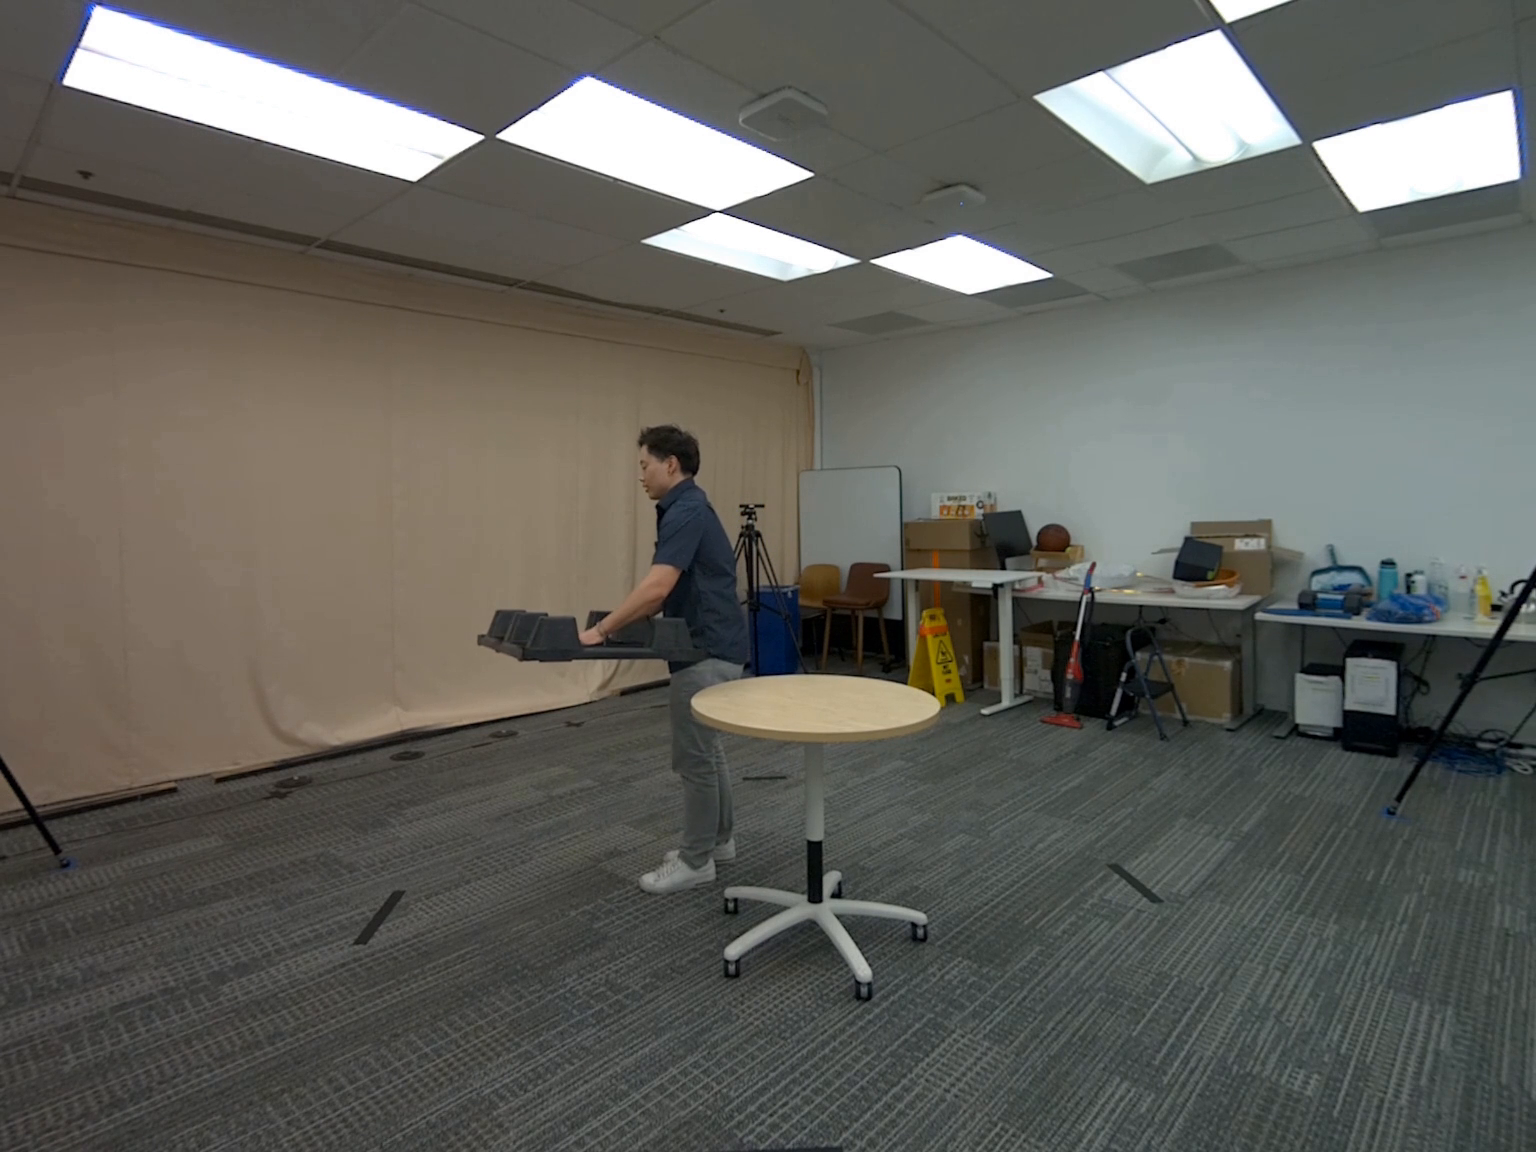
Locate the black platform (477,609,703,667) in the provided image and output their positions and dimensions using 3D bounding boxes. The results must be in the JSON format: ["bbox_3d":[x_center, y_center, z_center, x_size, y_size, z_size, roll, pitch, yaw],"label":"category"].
[{"bbox_3d":[-0.667,0.203,2.967,0.589,0.143,0.826,4,-2,-28],"label":"black platform"}]
